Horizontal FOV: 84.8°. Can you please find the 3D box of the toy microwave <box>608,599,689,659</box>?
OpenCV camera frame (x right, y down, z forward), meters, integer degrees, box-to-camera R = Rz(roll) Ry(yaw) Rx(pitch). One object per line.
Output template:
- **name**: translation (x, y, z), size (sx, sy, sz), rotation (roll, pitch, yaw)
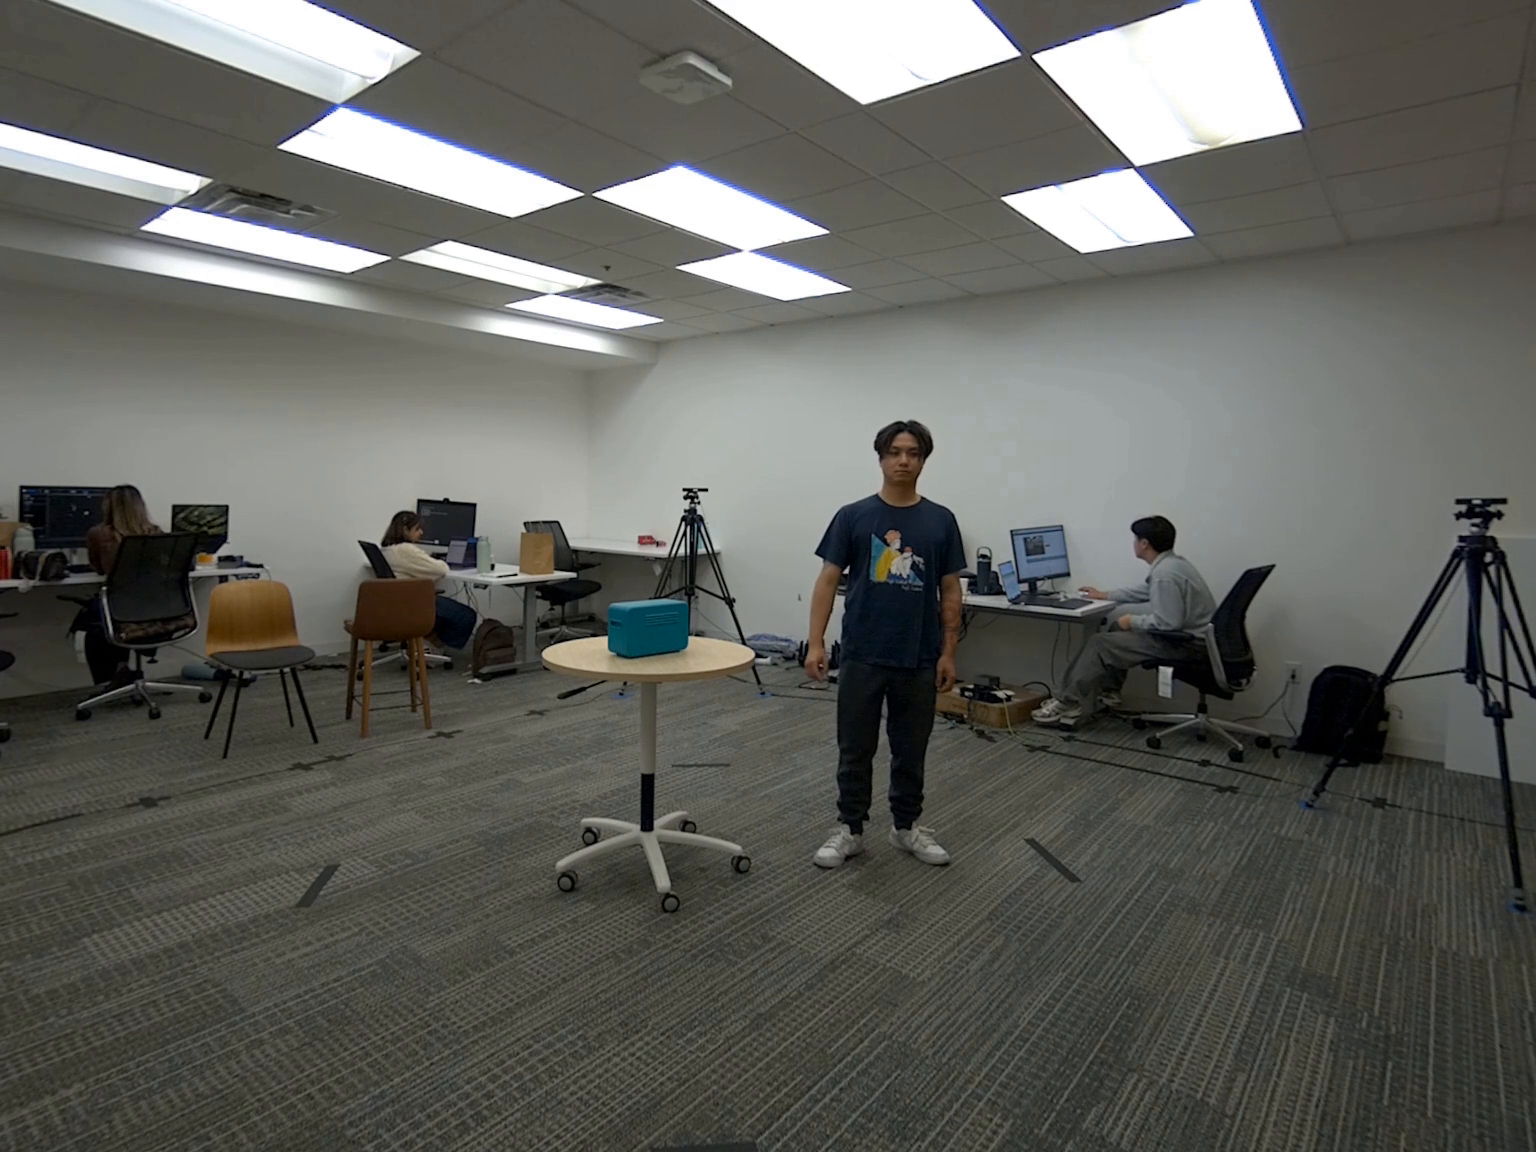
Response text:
- **toy microwave**: translation (-0.456, 0.185, 3.069), size (0.277, 0.184, 0.157), rotation (-2, 5, -45)
